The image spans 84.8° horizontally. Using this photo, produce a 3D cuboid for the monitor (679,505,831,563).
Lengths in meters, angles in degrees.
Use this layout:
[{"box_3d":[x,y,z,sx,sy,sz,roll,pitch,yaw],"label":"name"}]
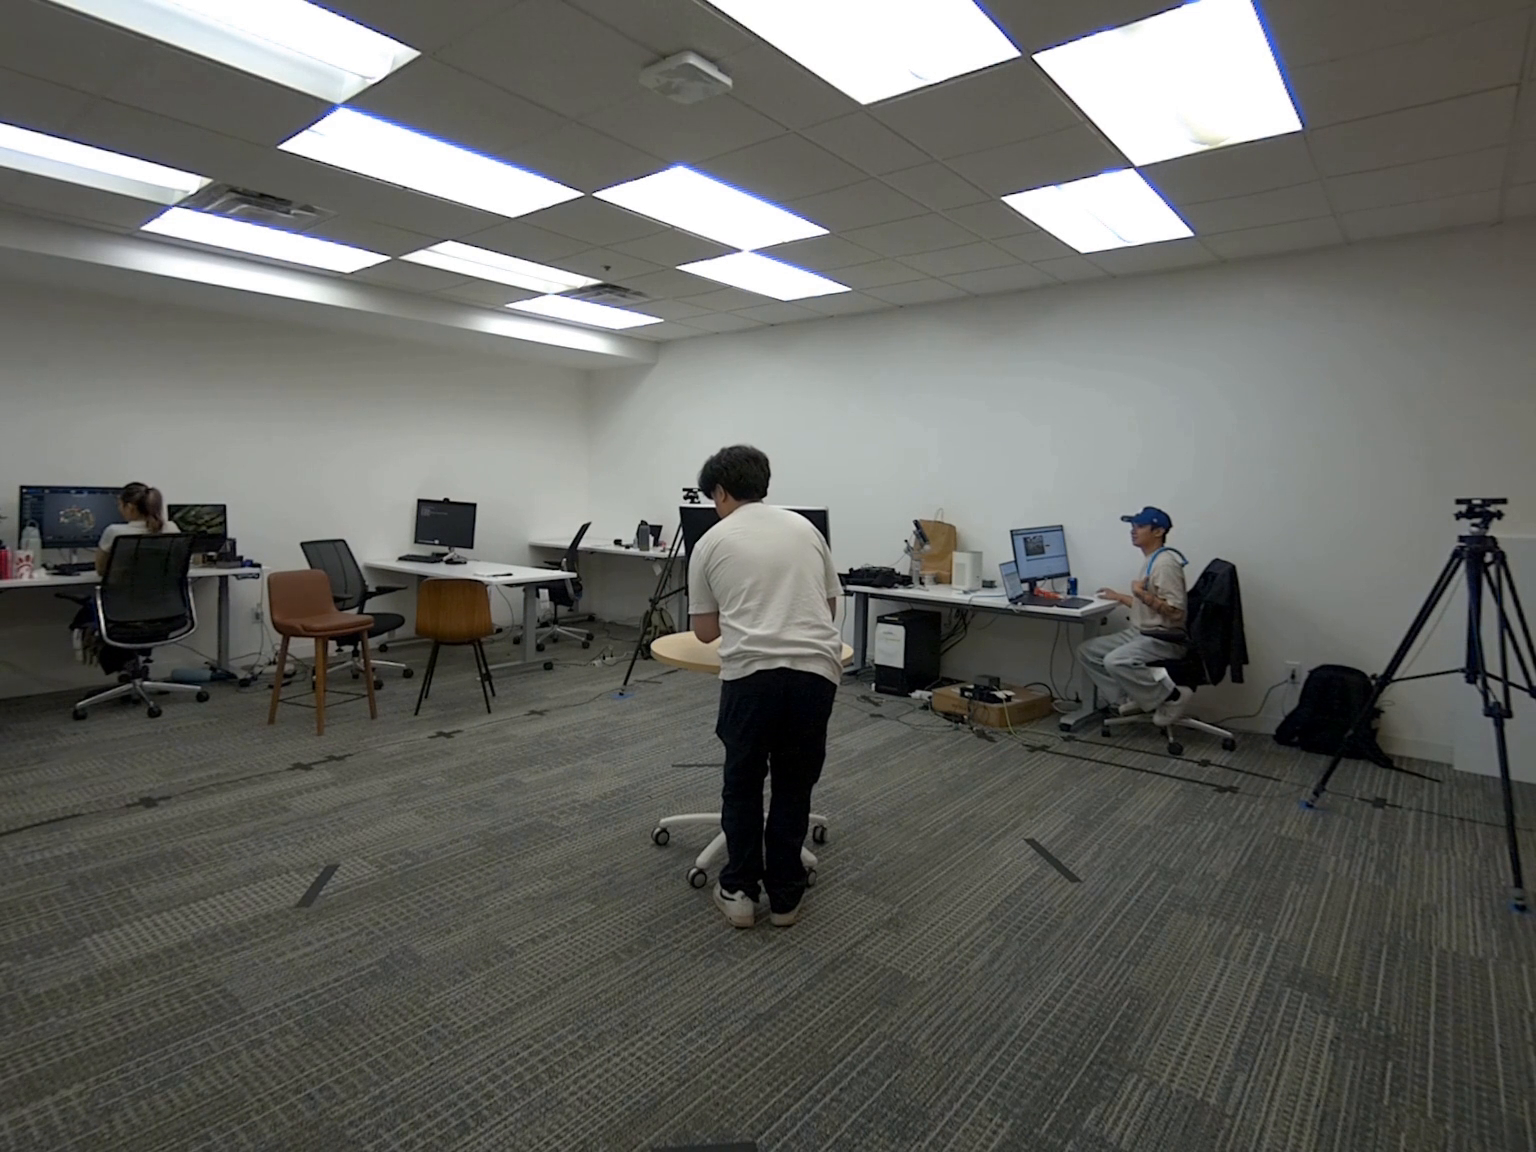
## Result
[{"box_3d":[-0.065,0.013,3.106,0.576,0.544,0.210,3,19,18],"label":"monitor"}]
